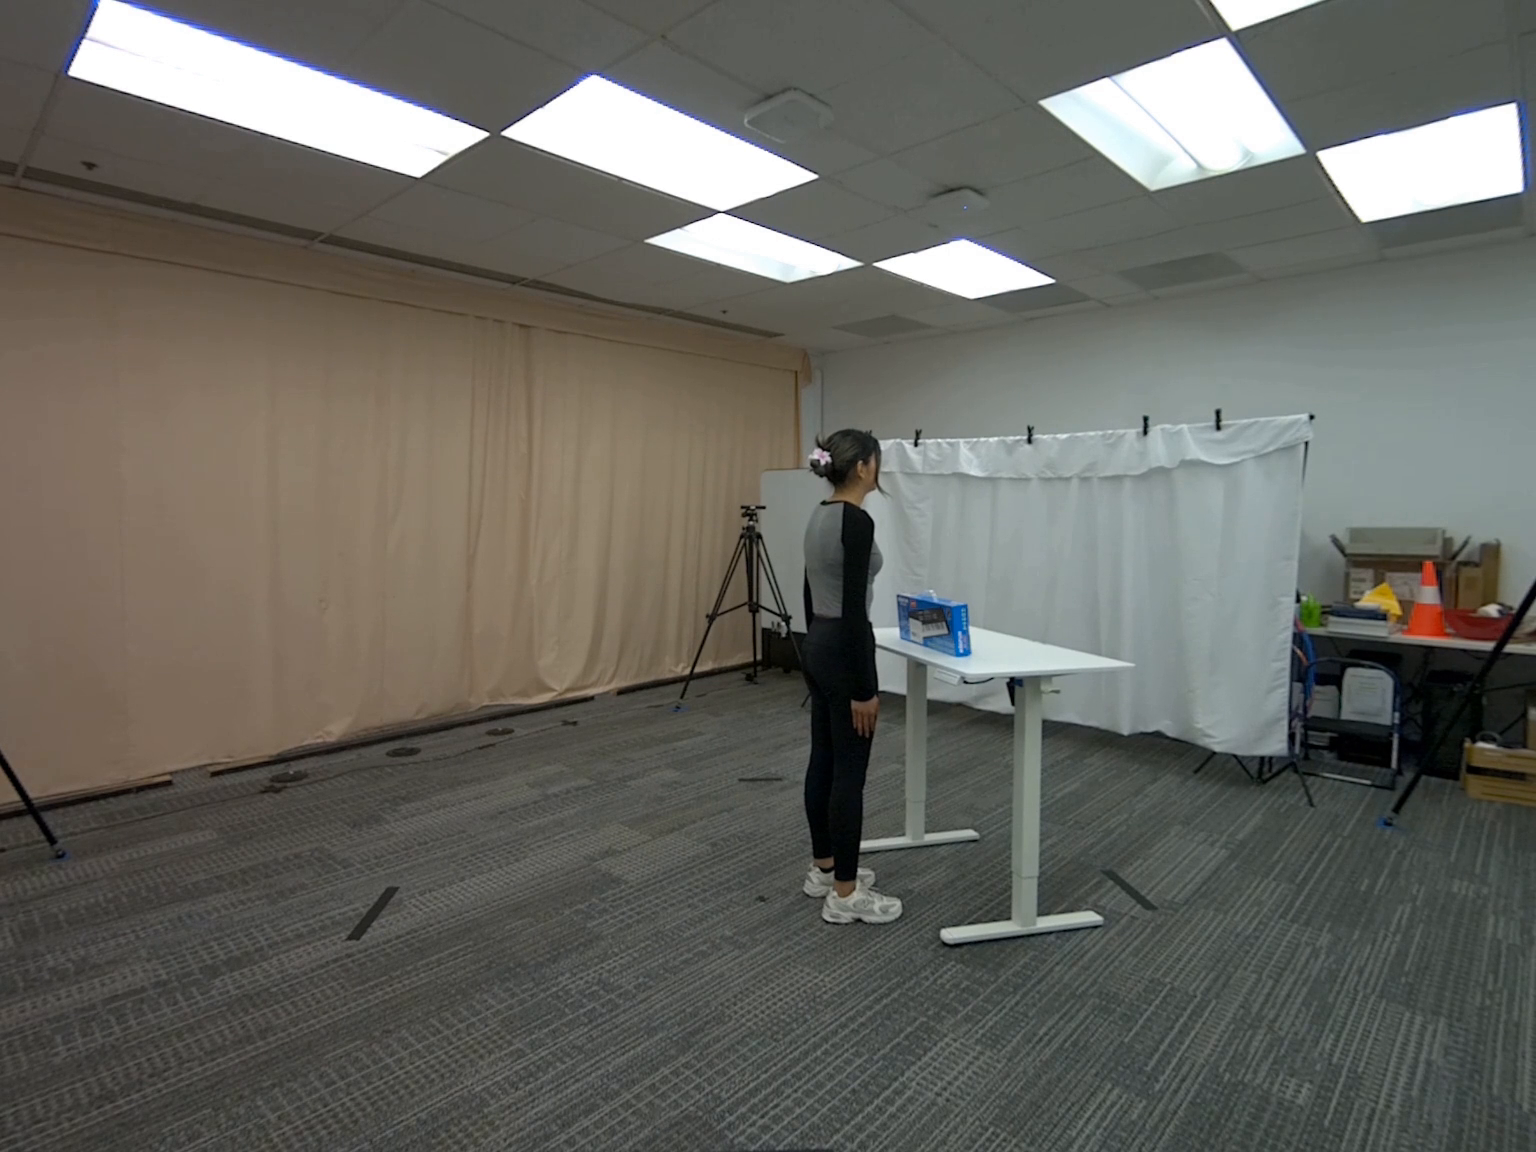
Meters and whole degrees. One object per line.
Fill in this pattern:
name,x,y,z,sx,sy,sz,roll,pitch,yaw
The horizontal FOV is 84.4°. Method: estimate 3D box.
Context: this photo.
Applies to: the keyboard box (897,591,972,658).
keyboard box,0.586,0.167,3.013,0.058,0.175,0.444,-5,4,-15
